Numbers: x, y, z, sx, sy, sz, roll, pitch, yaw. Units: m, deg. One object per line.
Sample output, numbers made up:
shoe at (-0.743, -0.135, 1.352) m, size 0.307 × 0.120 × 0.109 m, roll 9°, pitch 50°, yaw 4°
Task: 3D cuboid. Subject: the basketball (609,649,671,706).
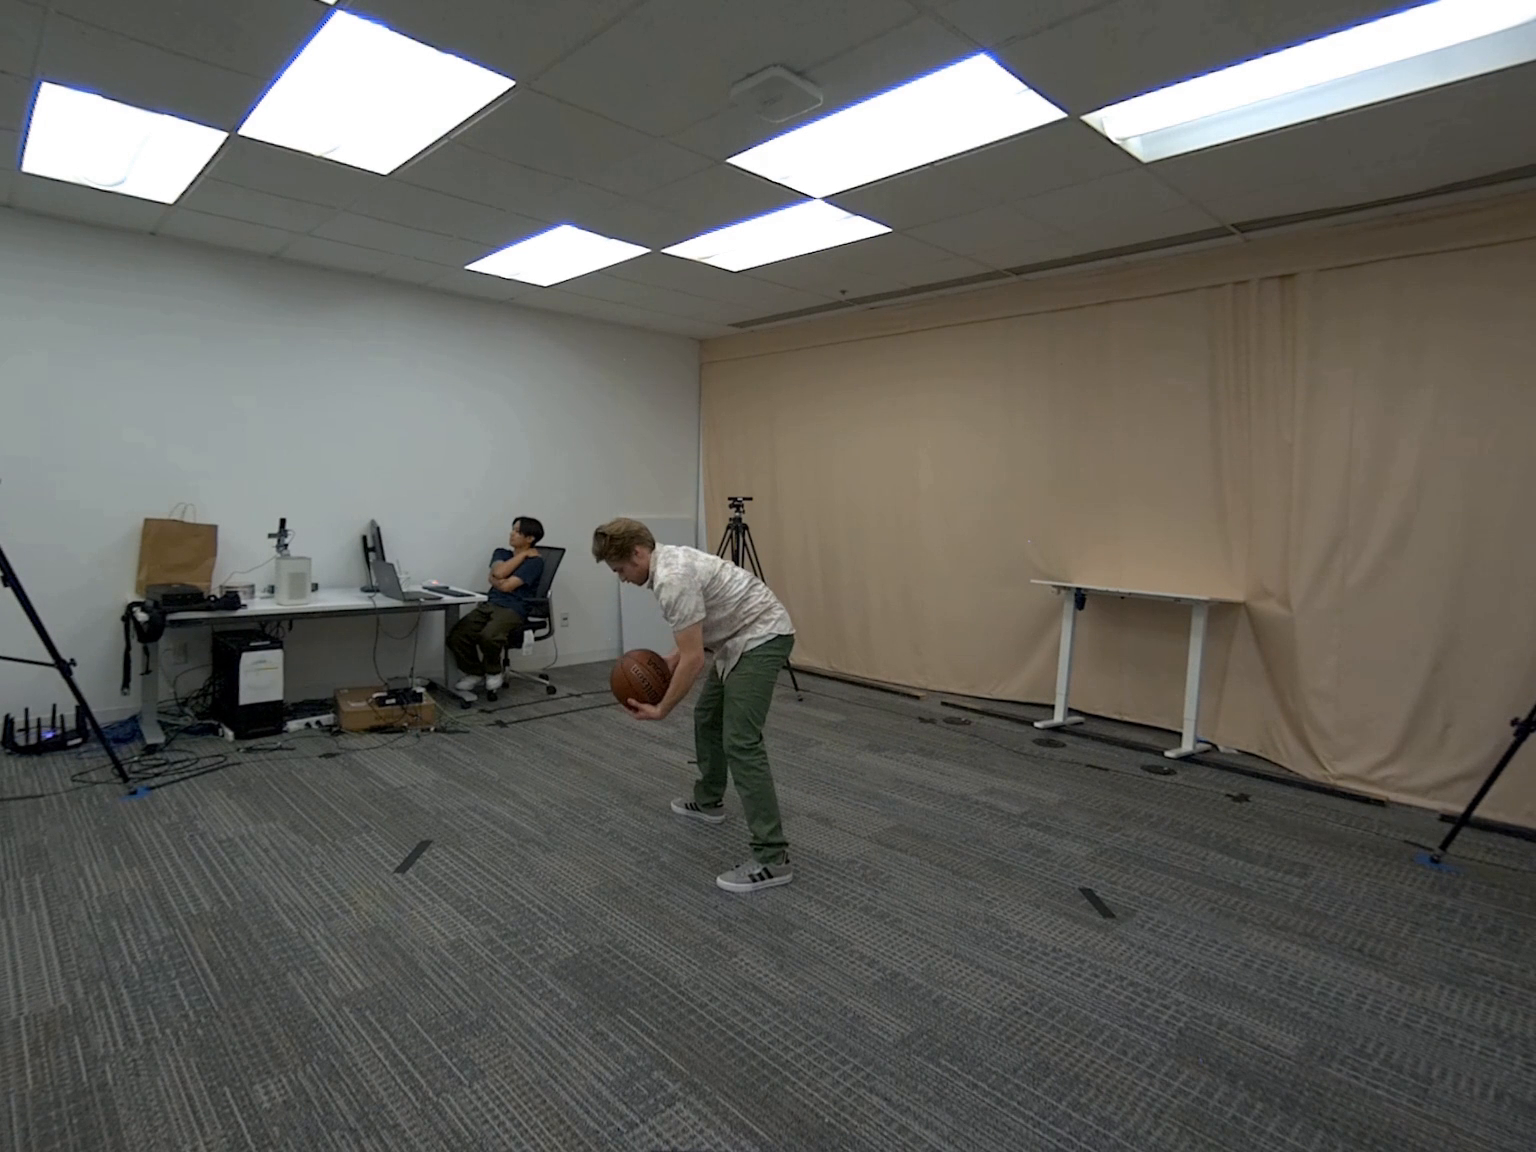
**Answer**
basketball at (-0.505, 0.408, 3.312) m, size 0.236 × 0.235 × 0.237 m, roll 1°, pitch 4°, yaw -1°
